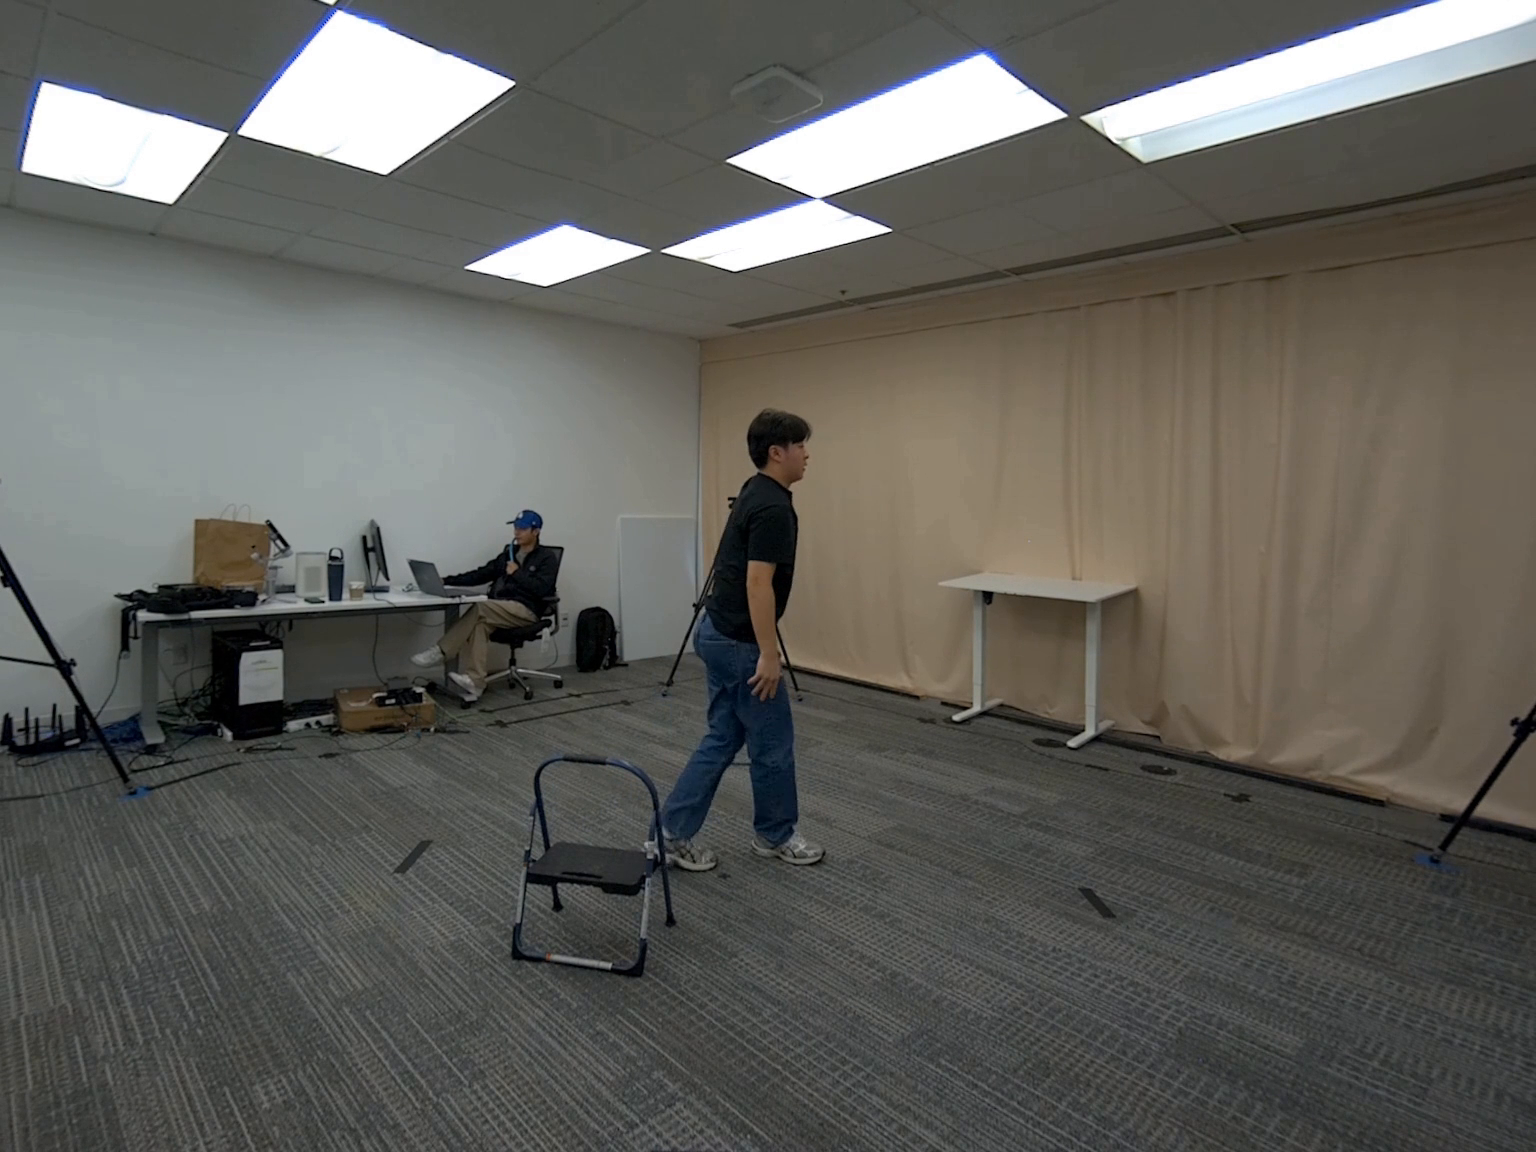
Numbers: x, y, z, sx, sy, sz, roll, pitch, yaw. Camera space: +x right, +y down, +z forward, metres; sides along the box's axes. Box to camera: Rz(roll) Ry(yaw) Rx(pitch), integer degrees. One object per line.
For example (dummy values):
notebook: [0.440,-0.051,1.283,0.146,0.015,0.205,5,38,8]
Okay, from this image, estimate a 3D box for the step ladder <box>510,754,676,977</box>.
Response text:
step ladder: [-0.540,0.842,2.621,0.434,0.605,0.347,1,3,10]
